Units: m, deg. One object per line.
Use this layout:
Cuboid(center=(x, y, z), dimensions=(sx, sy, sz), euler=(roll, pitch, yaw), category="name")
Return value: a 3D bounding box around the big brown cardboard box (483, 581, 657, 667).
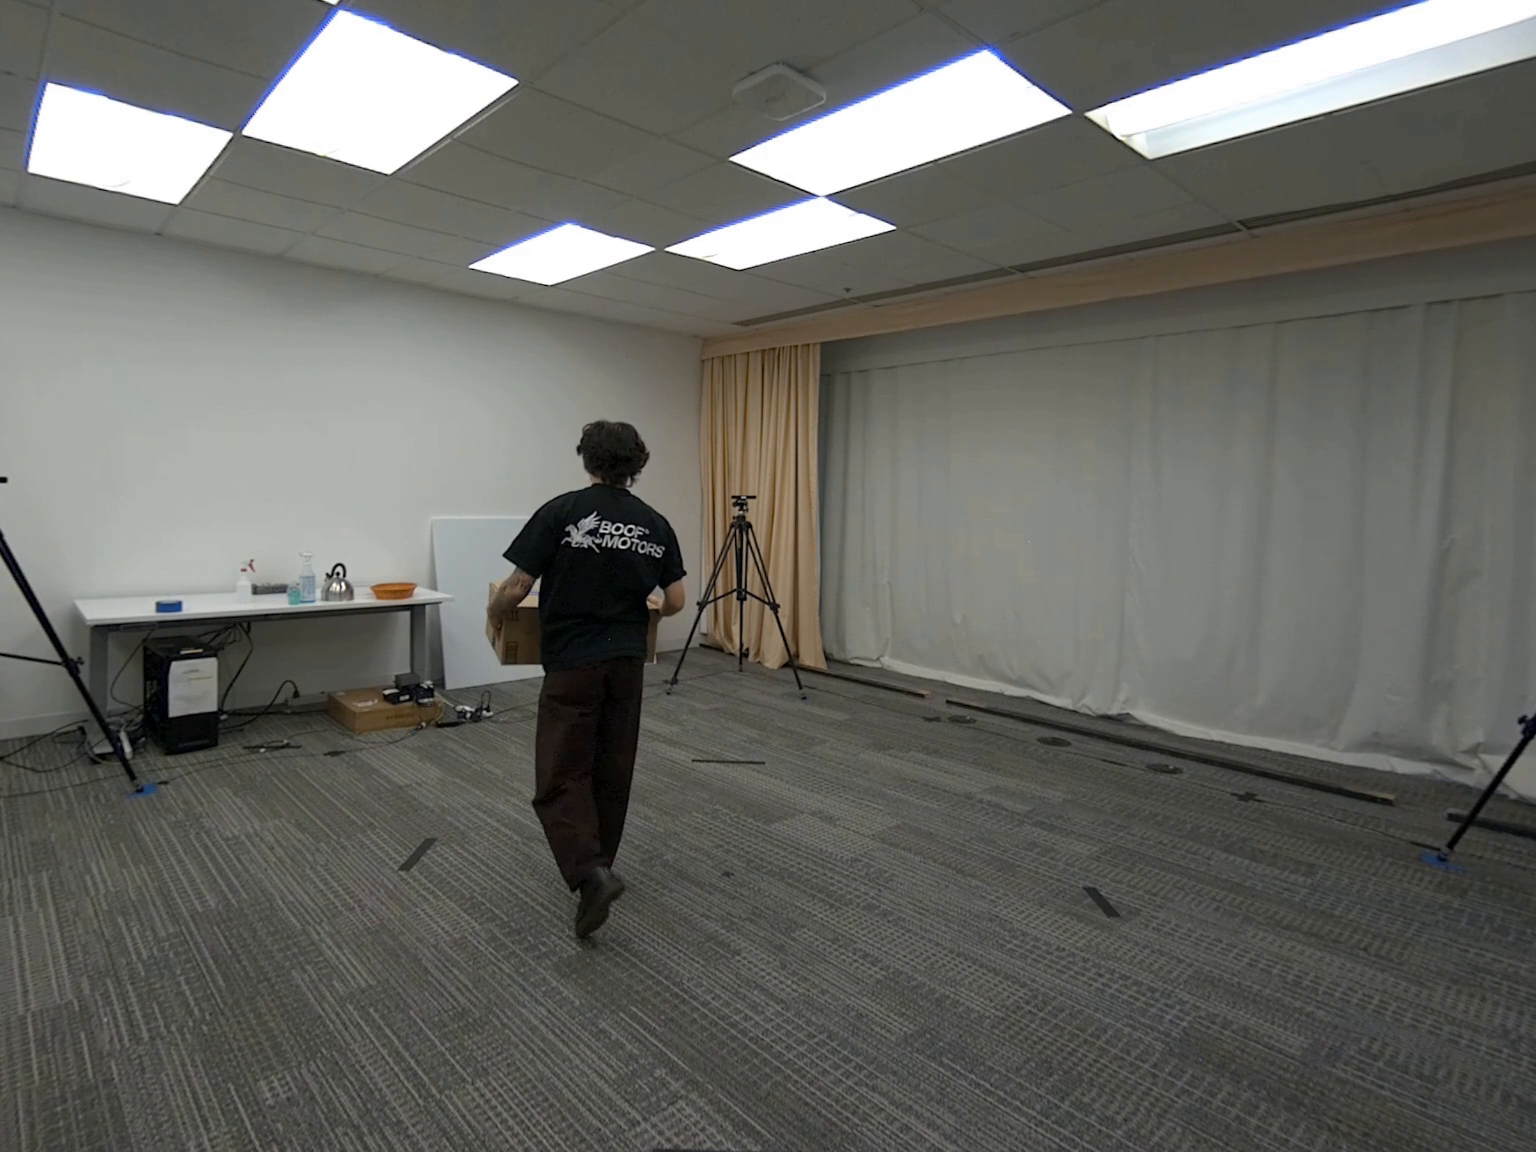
Cuboid(center=(-0.749, 0.176, 3.211), dimensions=(0.578, 0.232, 0.428), euler=(1, 10, -26), category="big brown cardboard box")
